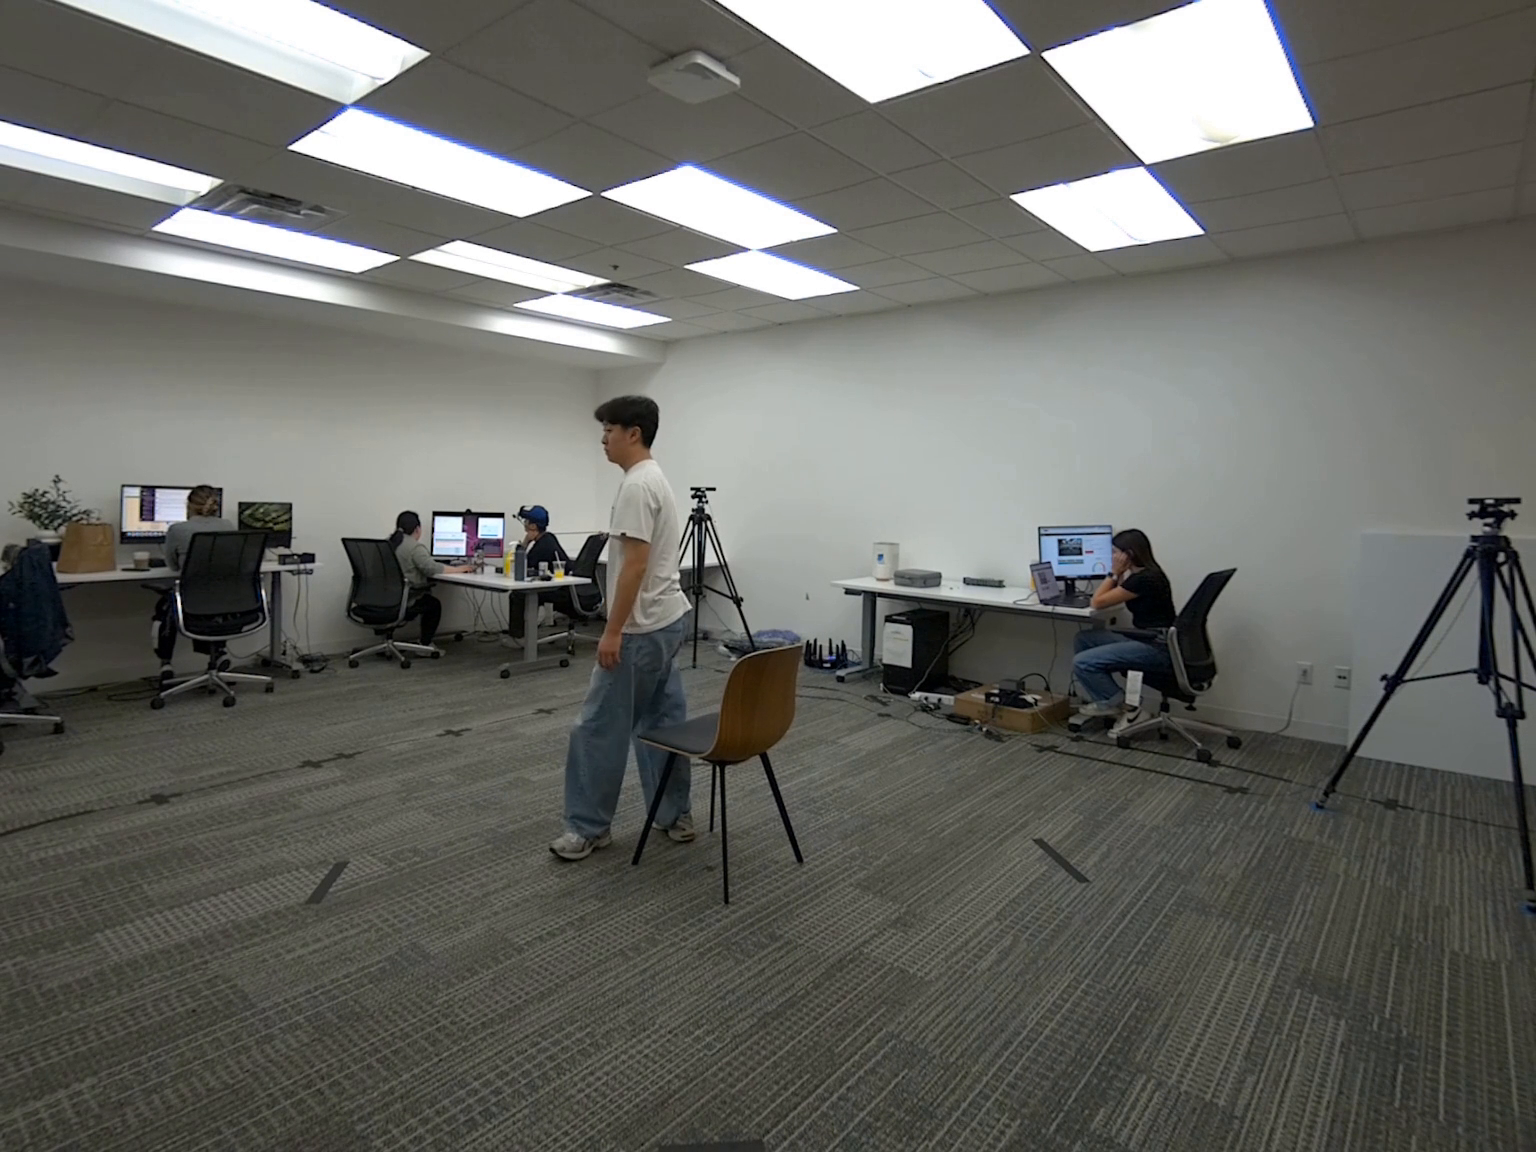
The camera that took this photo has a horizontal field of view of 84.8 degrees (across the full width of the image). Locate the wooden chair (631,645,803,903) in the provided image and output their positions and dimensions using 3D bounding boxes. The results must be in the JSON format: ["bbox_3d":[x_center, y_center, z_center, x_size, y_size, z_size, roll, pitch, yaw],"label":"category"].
[{"bbox_3d":[-0.187,0.639,3.125,0.542,0.873,0.464,9,7,38],"label":"wooden chair"}]
